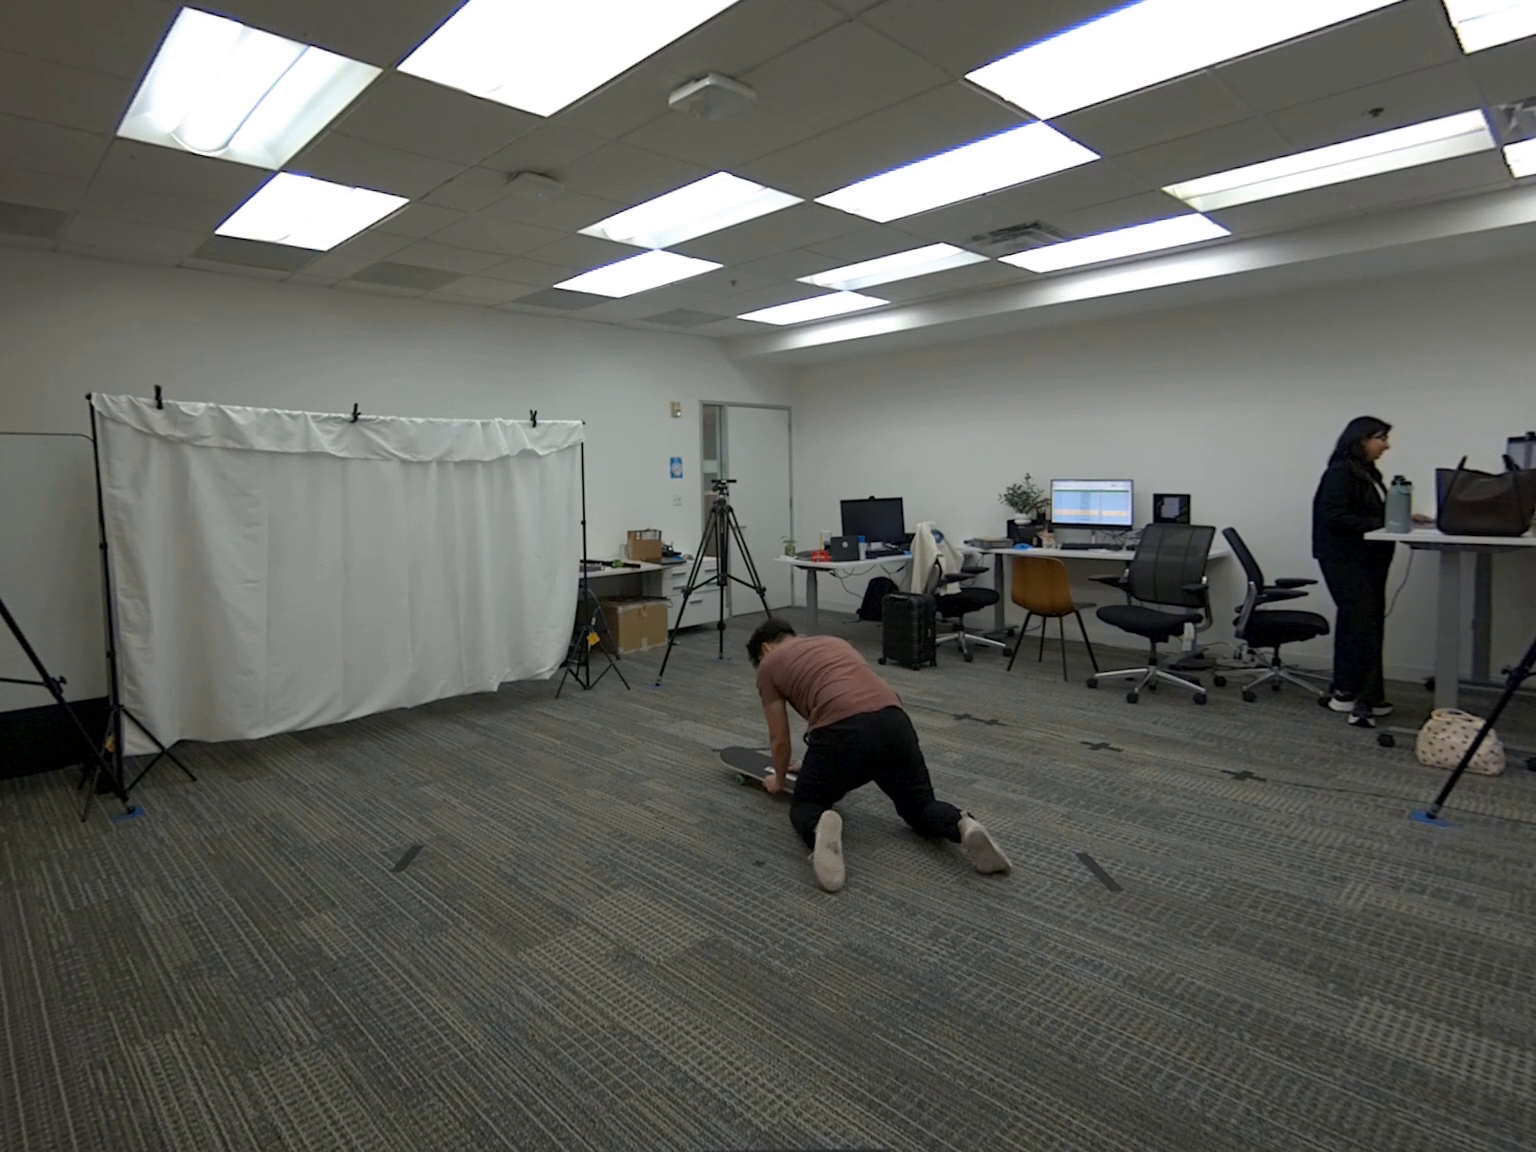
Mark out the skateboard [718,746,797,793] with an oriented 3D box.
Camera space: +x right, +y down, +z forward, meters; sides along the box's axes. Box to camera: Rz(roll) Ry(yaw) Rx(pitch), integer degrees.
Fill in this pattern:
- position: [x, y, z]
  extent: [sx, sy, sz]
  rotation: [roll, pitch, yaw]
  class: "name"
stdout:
- position: [0.069, 0.917, 3.816]
  extent: [0.189, 0.109, 0.810]
  rotation: [-11, 12, -39]
  class: "skateboard"
